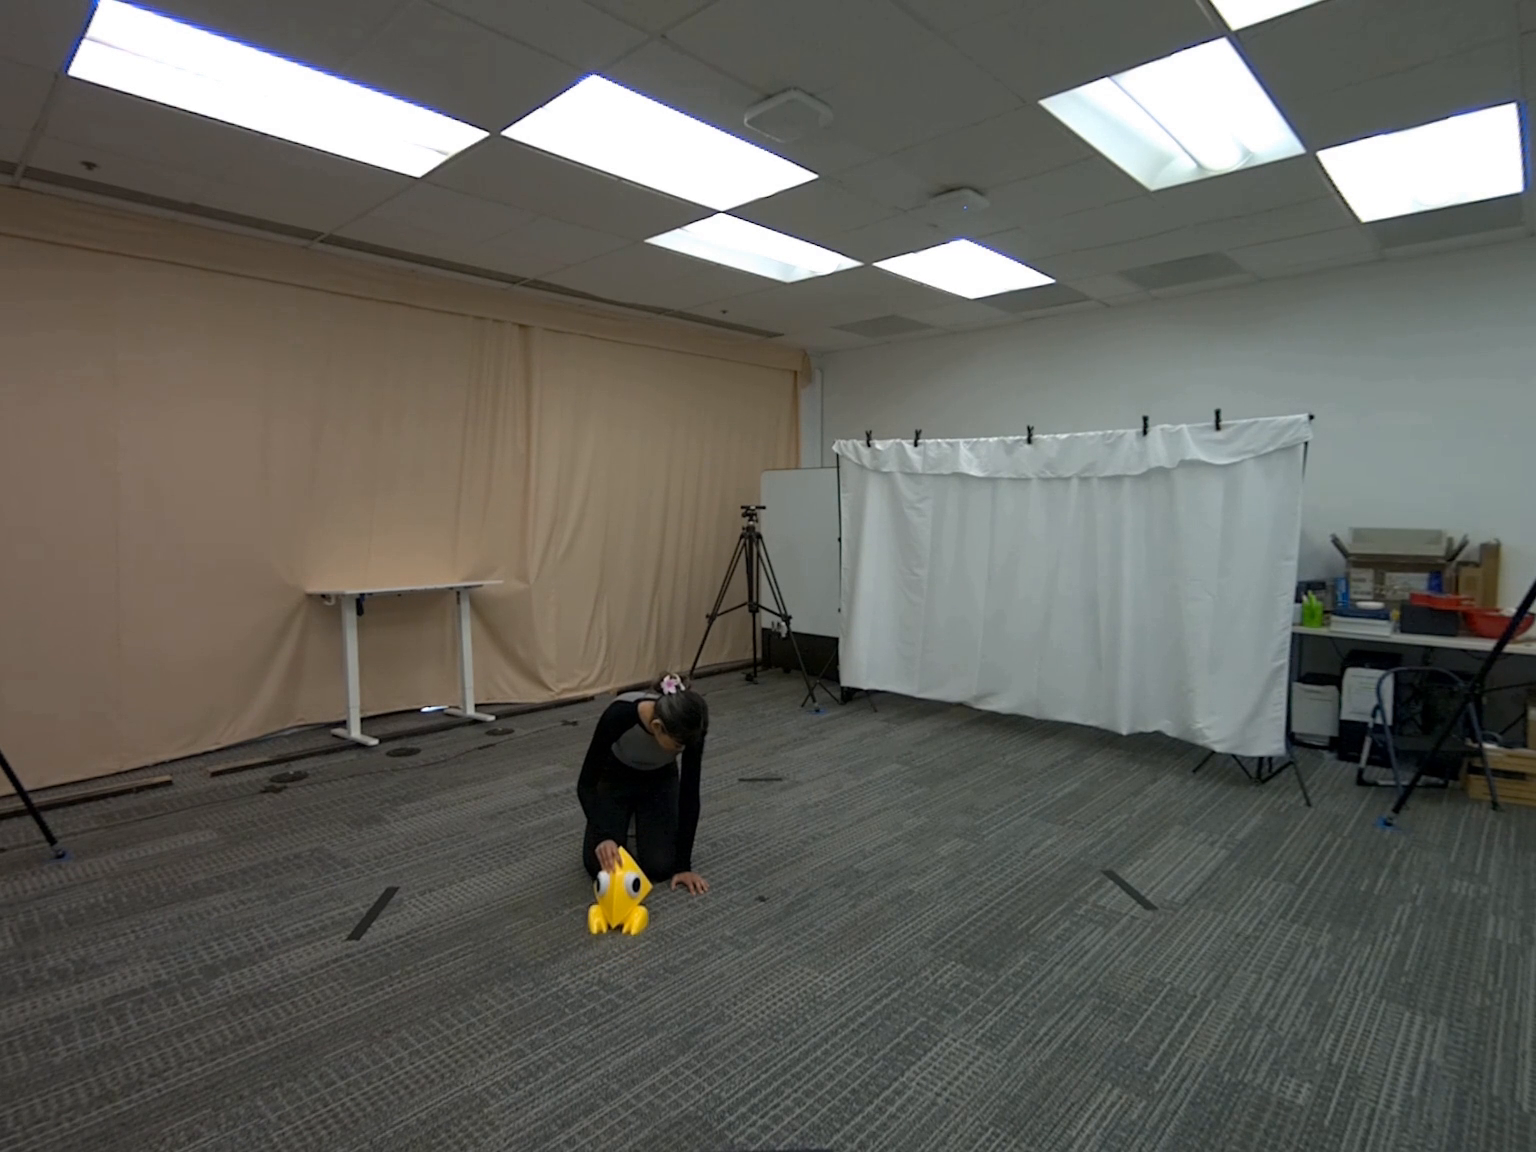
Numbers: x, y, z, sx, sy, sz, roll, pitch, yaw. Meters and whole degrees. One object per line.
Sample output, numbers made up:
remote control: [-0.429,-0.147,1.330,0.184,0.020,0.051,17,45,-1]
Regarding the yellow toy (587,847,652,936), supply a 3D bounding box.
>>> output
yellow toy: [-0.503,1.041,2.825,0.205,0.230,0.193,0,3,3]
